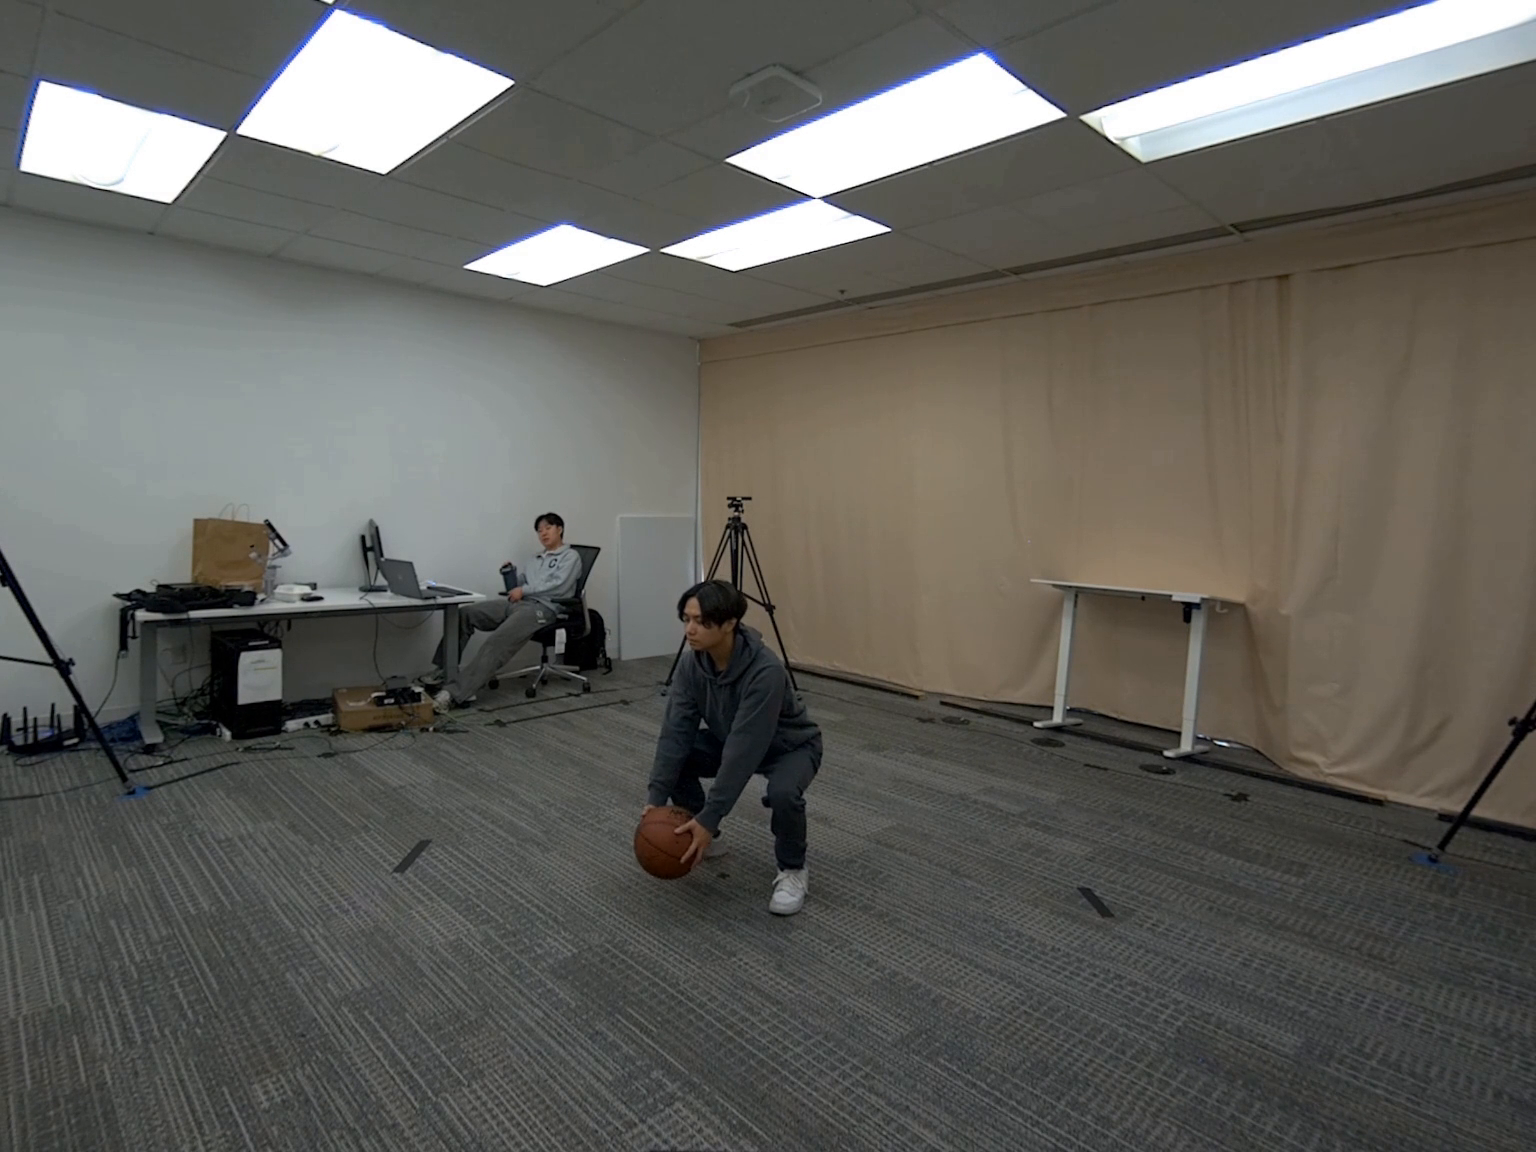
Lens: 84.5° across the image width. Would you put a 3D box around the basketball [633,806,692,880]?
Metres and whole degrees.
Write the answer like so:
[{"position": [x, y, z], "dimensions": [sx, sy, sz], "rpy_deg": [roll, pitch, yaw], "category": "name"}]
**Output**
[{"position": [-0.344, 0.894, 2.859], "dimensions": [0.236, 0.235, 0.237], "rpy_deg": [1, 4, -1], "category": "basketball"}]
